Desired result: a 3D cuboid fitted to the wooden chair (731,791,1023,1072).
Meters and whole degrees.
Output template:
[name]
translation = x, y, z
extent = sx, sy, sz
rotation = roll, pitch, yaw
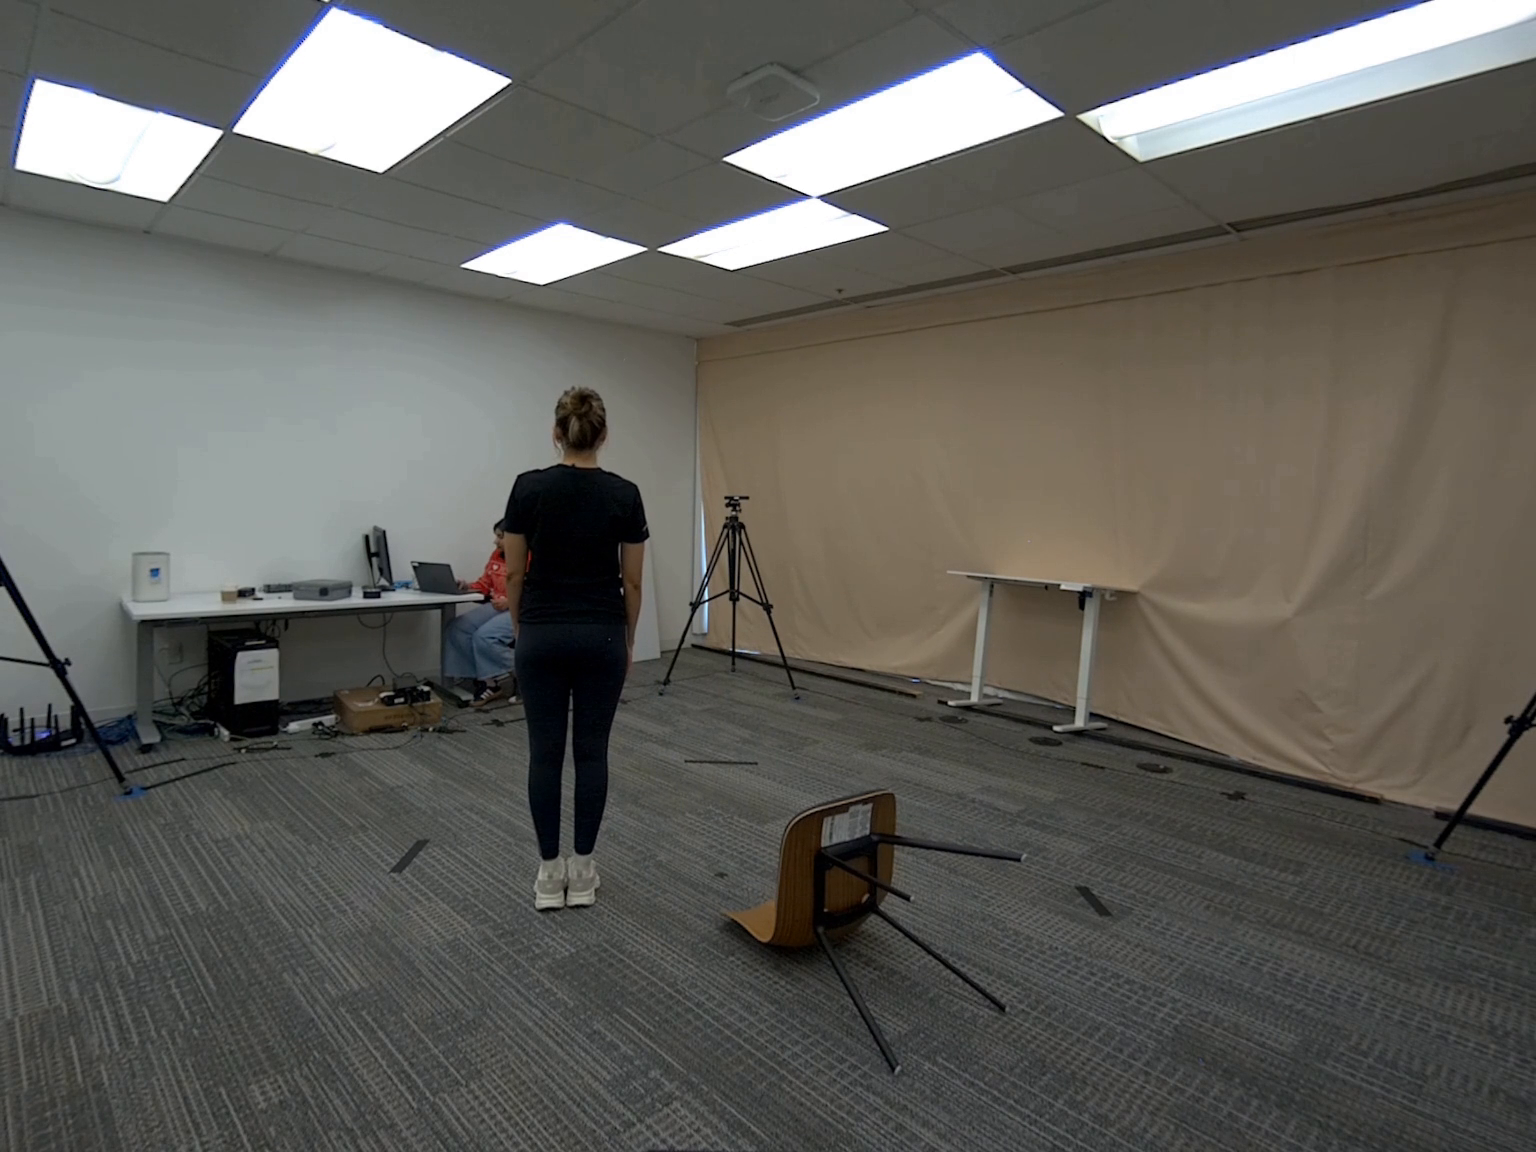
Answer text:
[wooden chair]
translation = 0.228, 0.907, 2.504
extent = 0.467, 0.522, 0.899
rotation = -1, 5, -38
